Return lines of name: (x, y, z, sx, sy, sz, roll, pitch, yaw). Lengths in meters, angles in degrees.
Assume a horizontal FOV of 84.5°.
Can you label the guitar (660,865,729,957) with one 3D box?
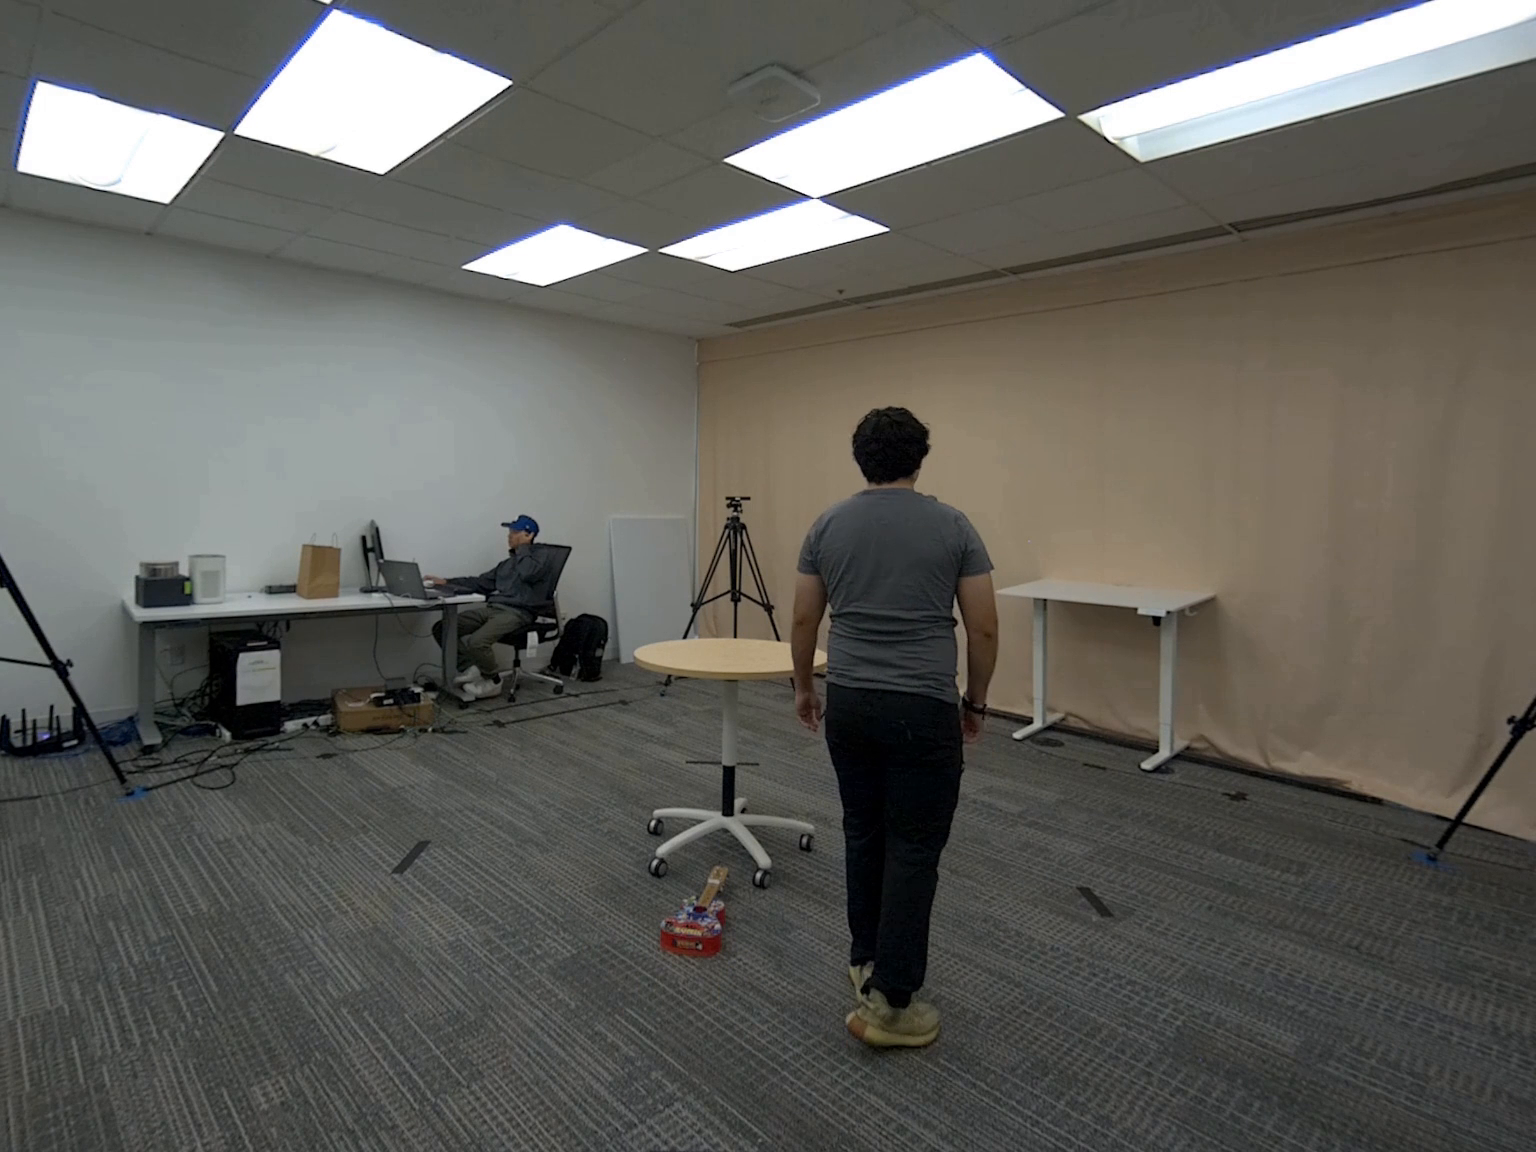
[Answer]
guitar: (-0.187, 1.094, 2.791, 0.196, 0.070, 0.491, 2, 6, 19)
